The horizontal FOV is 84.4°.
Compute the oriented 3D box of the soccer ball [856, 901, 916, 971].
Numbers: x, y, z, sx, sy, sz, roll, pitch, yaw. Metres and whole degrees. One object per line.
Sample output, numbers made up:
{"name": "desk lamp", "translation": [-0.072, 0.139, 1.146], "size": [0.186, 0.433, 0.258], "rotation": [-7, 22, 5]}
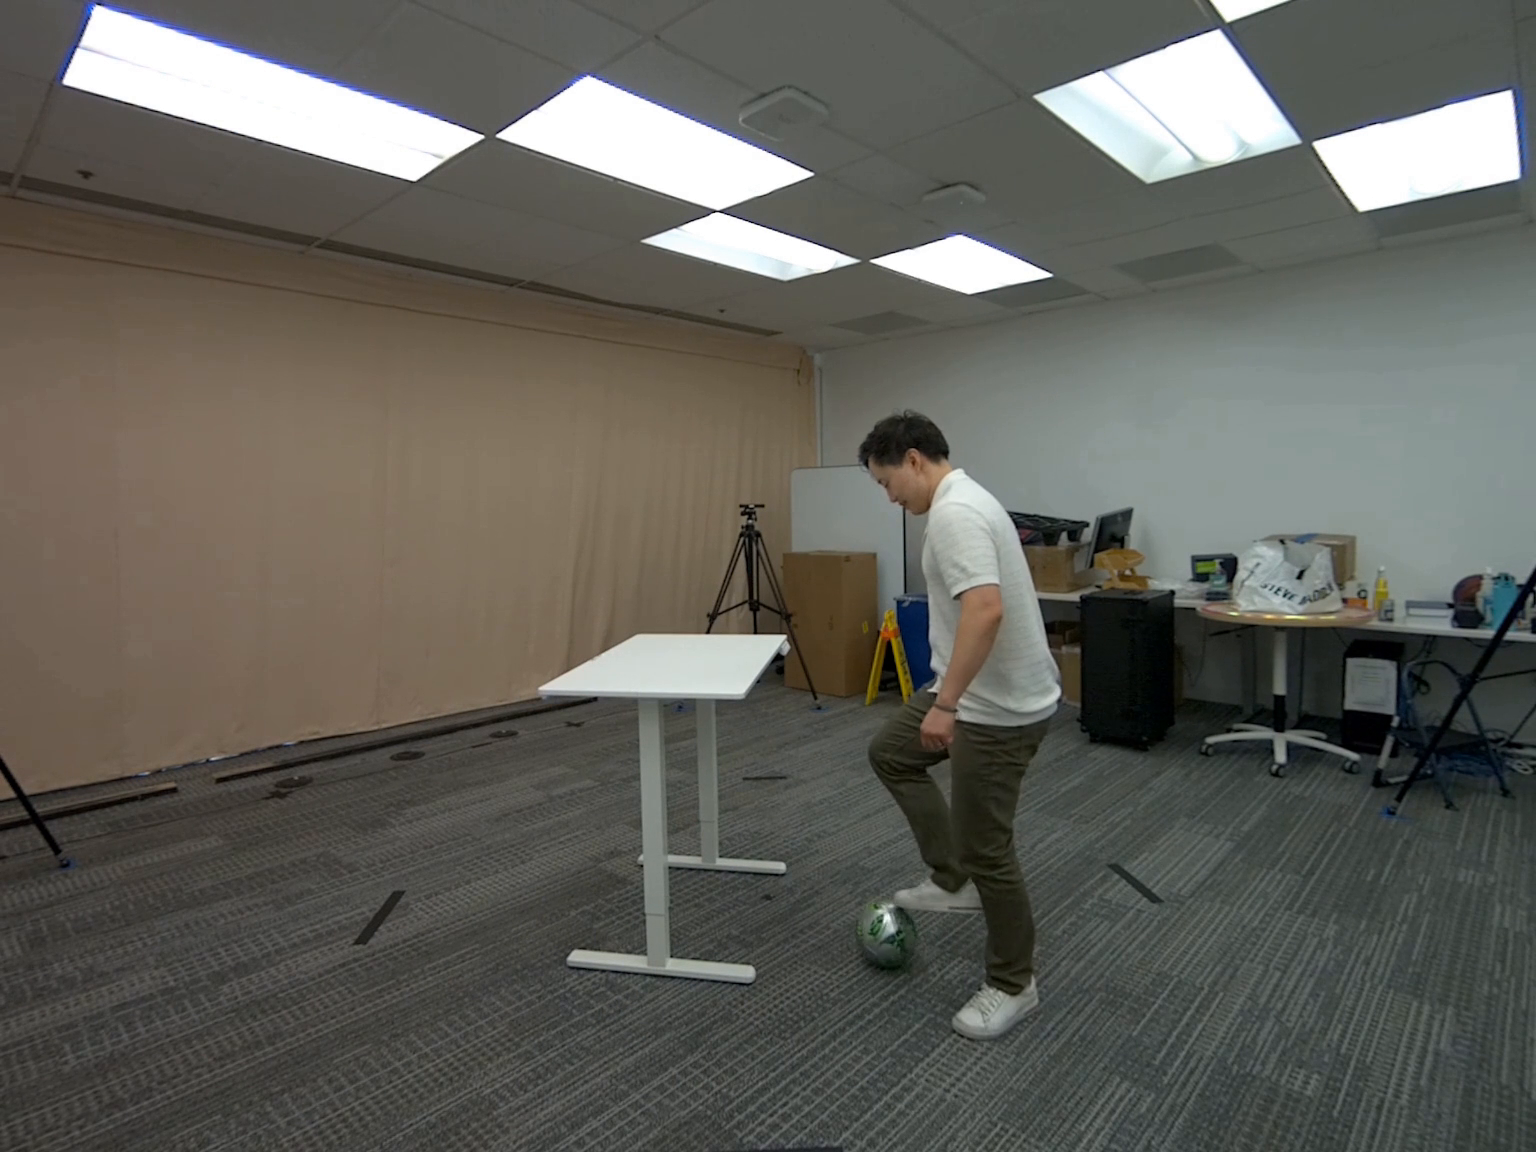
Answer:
{"name": "soccer ball", "translation": [0.352, 1.081, 2.540], "size": [0.187, 0.187, 0.188], "rotation": [-1, 4, -2]}
